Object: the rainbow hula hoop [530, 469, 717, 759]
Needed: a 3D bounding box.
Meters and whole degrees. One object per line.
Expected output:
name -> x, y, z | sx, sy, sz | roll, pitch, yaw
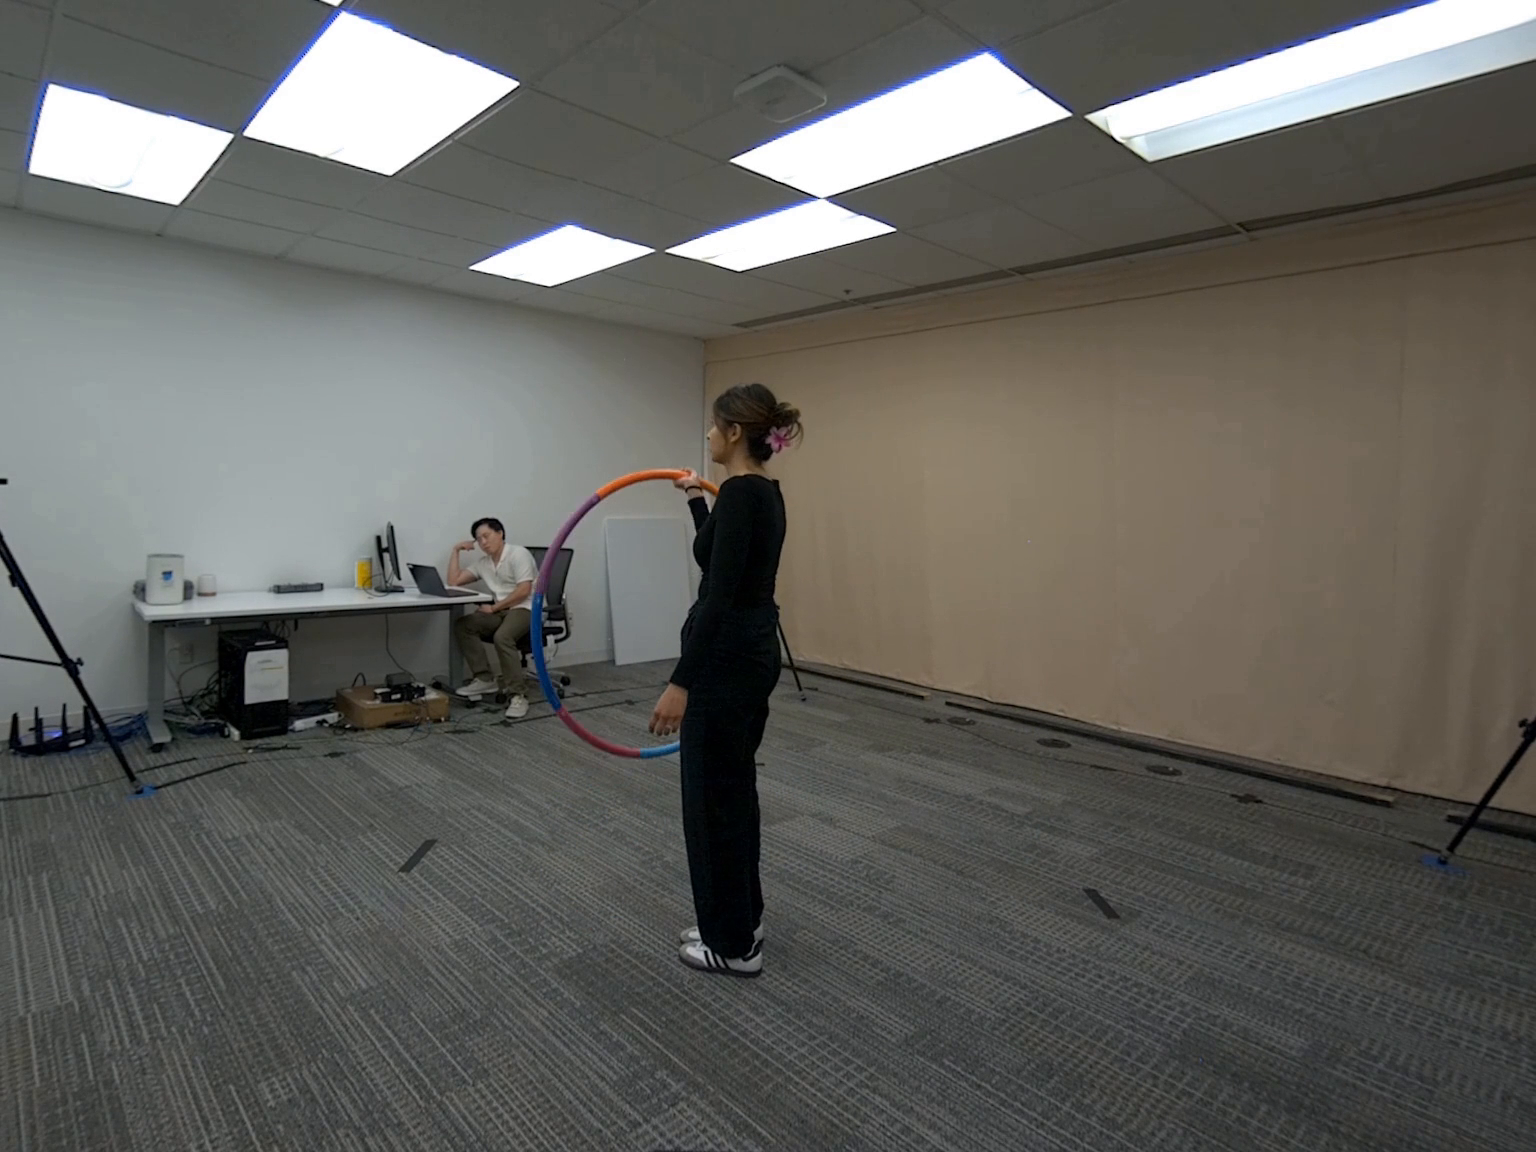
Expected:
rainbow hula hoop -> -0.359, 0.131, 2.896 | 0.963, 0.983, 0.053 | -2, 4, -40
